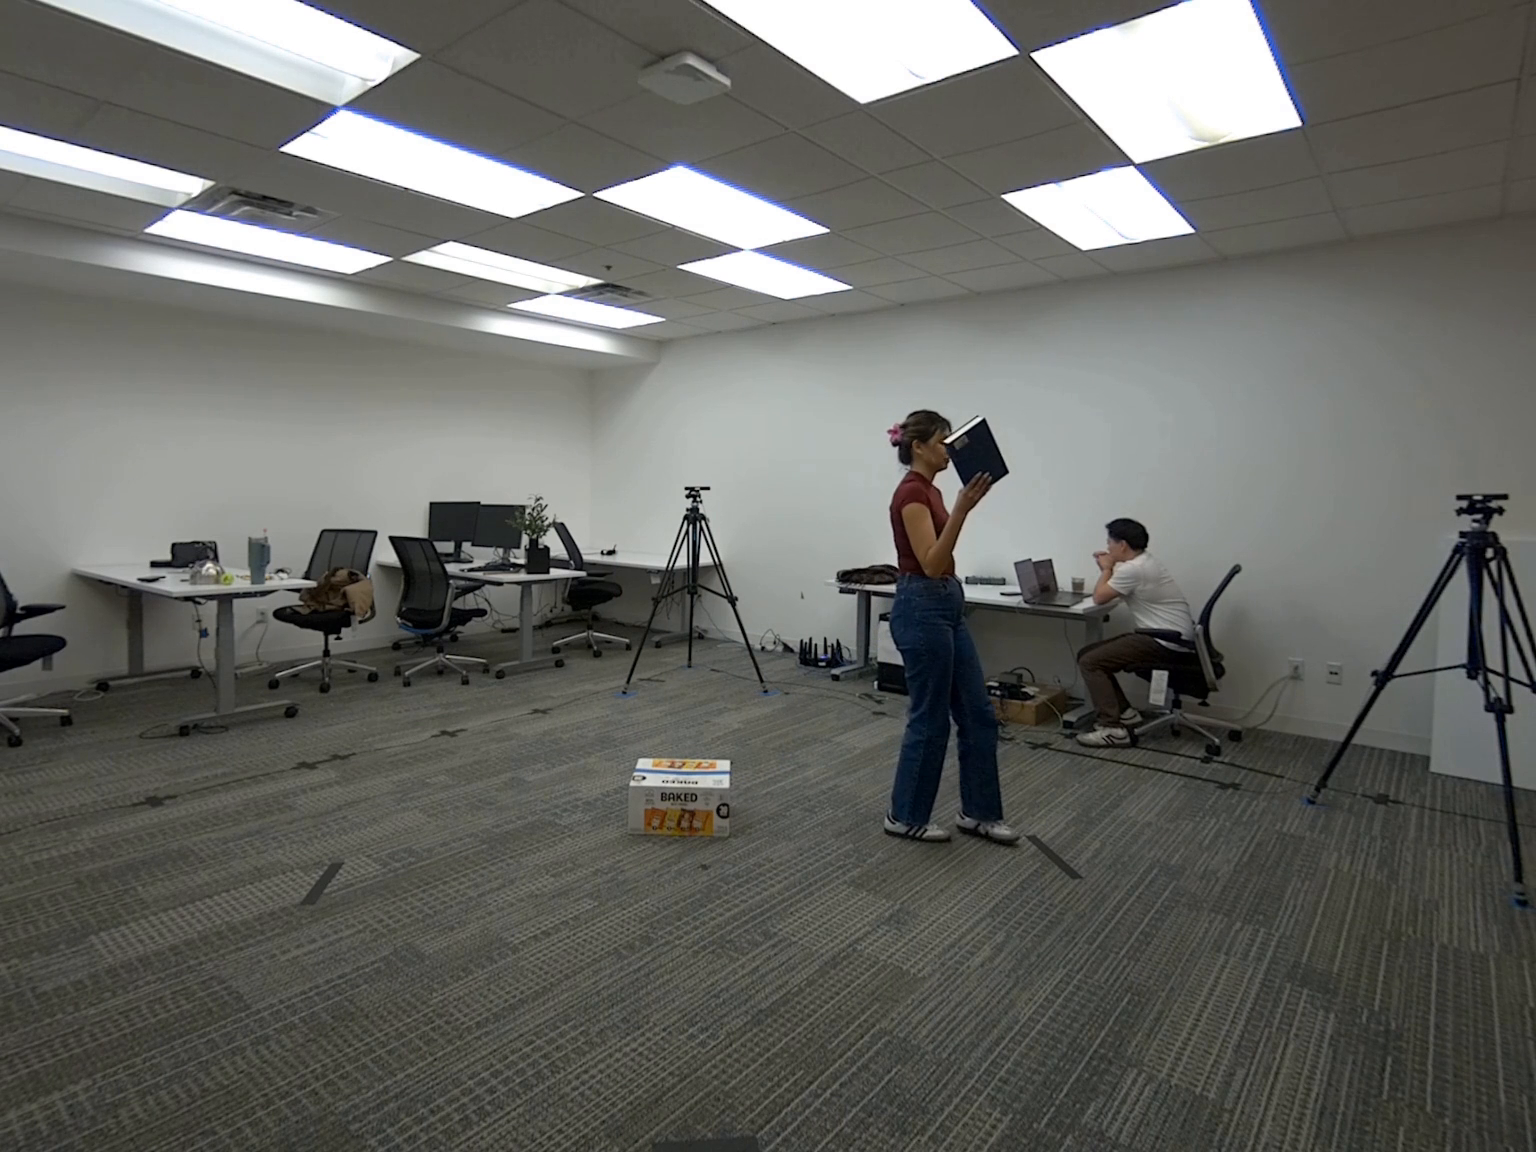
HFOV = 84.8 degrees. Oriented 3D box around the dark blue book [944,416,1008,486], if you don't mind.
[{"bbox_3d":[0.731,-0.426,3.023,0.163,0.237,0.046,-33,25,-2],"label":"dark blue book"}]
